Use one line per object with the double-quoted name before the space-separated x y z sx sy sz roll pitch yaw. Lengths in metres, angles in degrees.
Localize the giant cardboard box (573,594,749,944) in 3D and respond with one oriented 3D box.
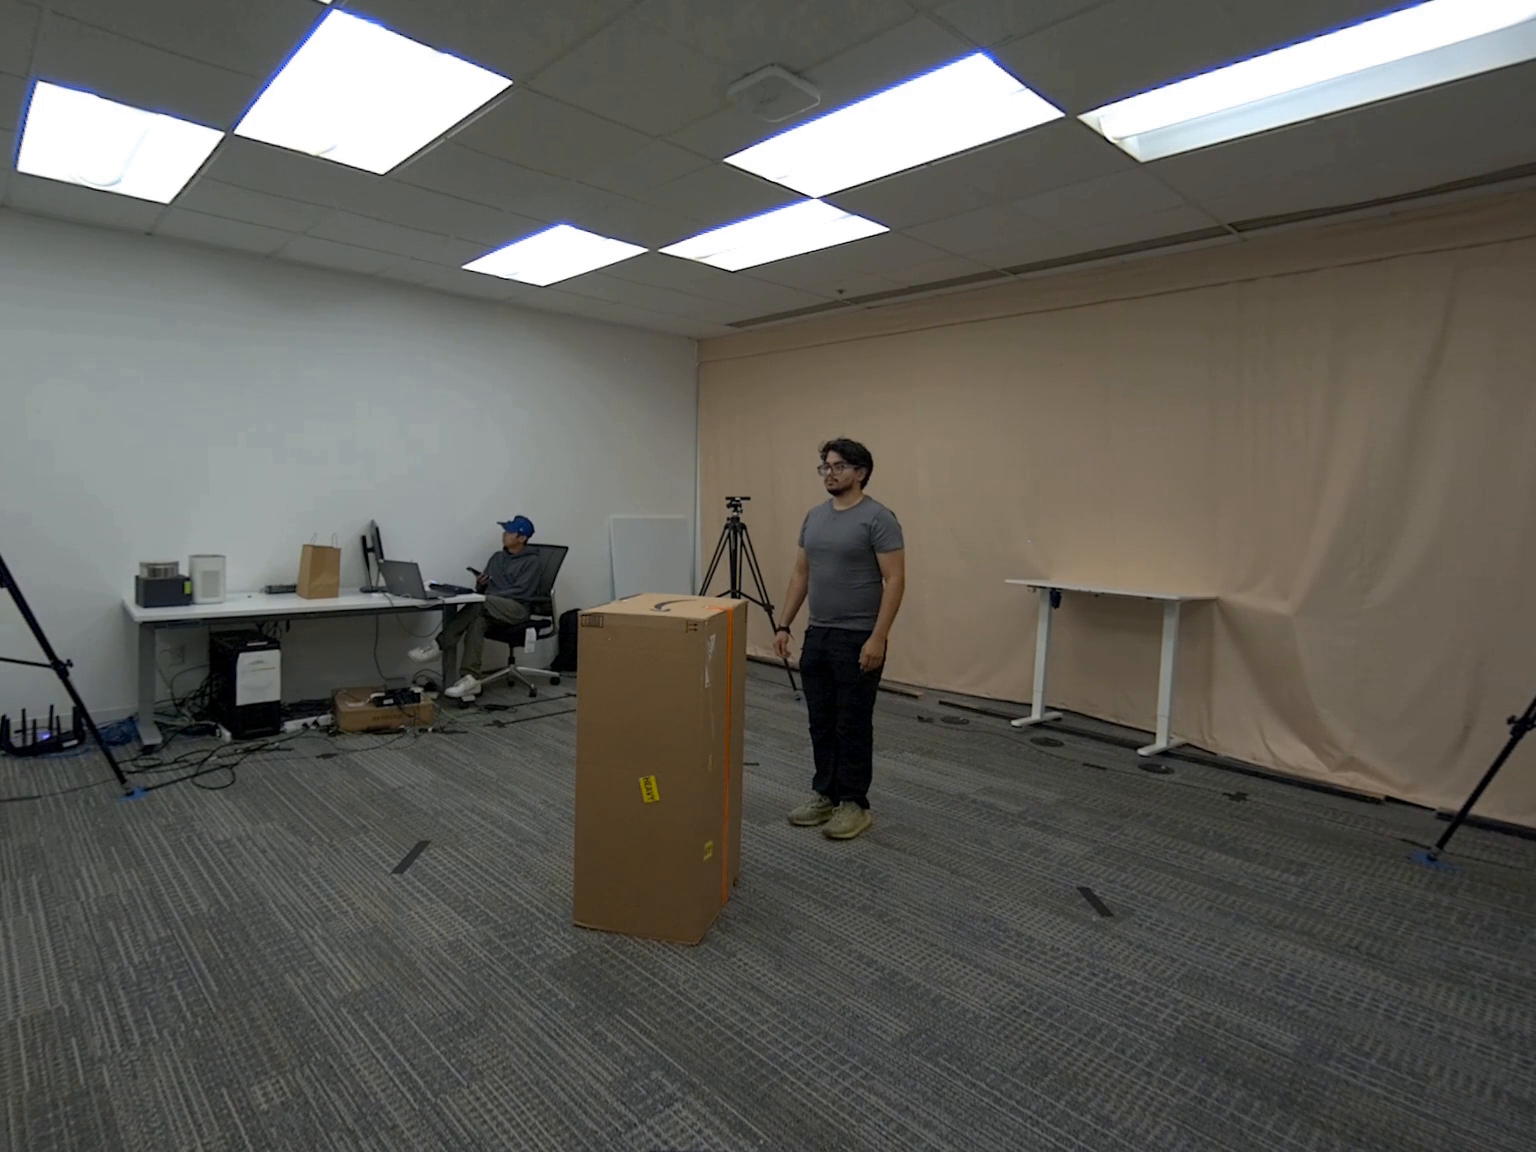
"giant cardboard box" -0.352 0.608 2.911 0.431 1.024 0.572 2 3 13
